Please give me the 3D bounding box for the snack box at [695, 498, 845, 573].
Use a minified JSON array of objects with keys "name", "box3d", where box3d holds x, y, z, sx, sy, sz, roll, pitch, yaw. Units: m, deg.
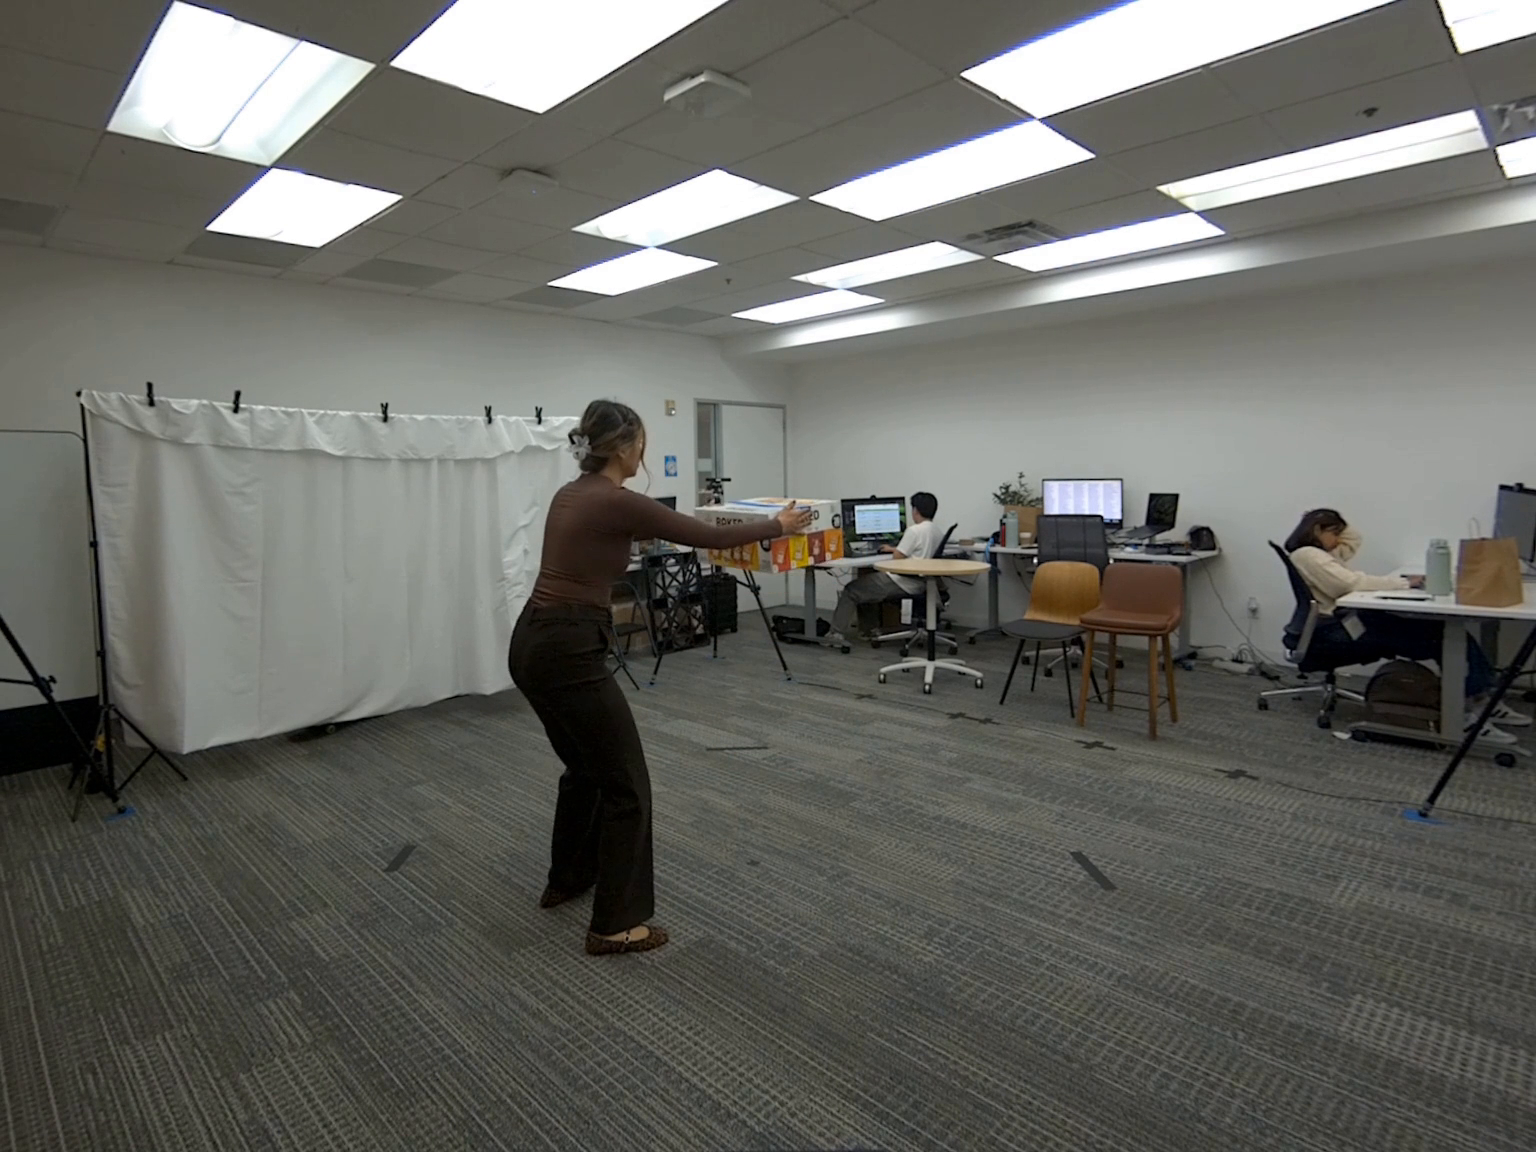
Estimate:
[{"name":"snack box","box3d":[-0.005,-0.148,3.053,0.333,0.204,0.418,-12,13,-39]}]
